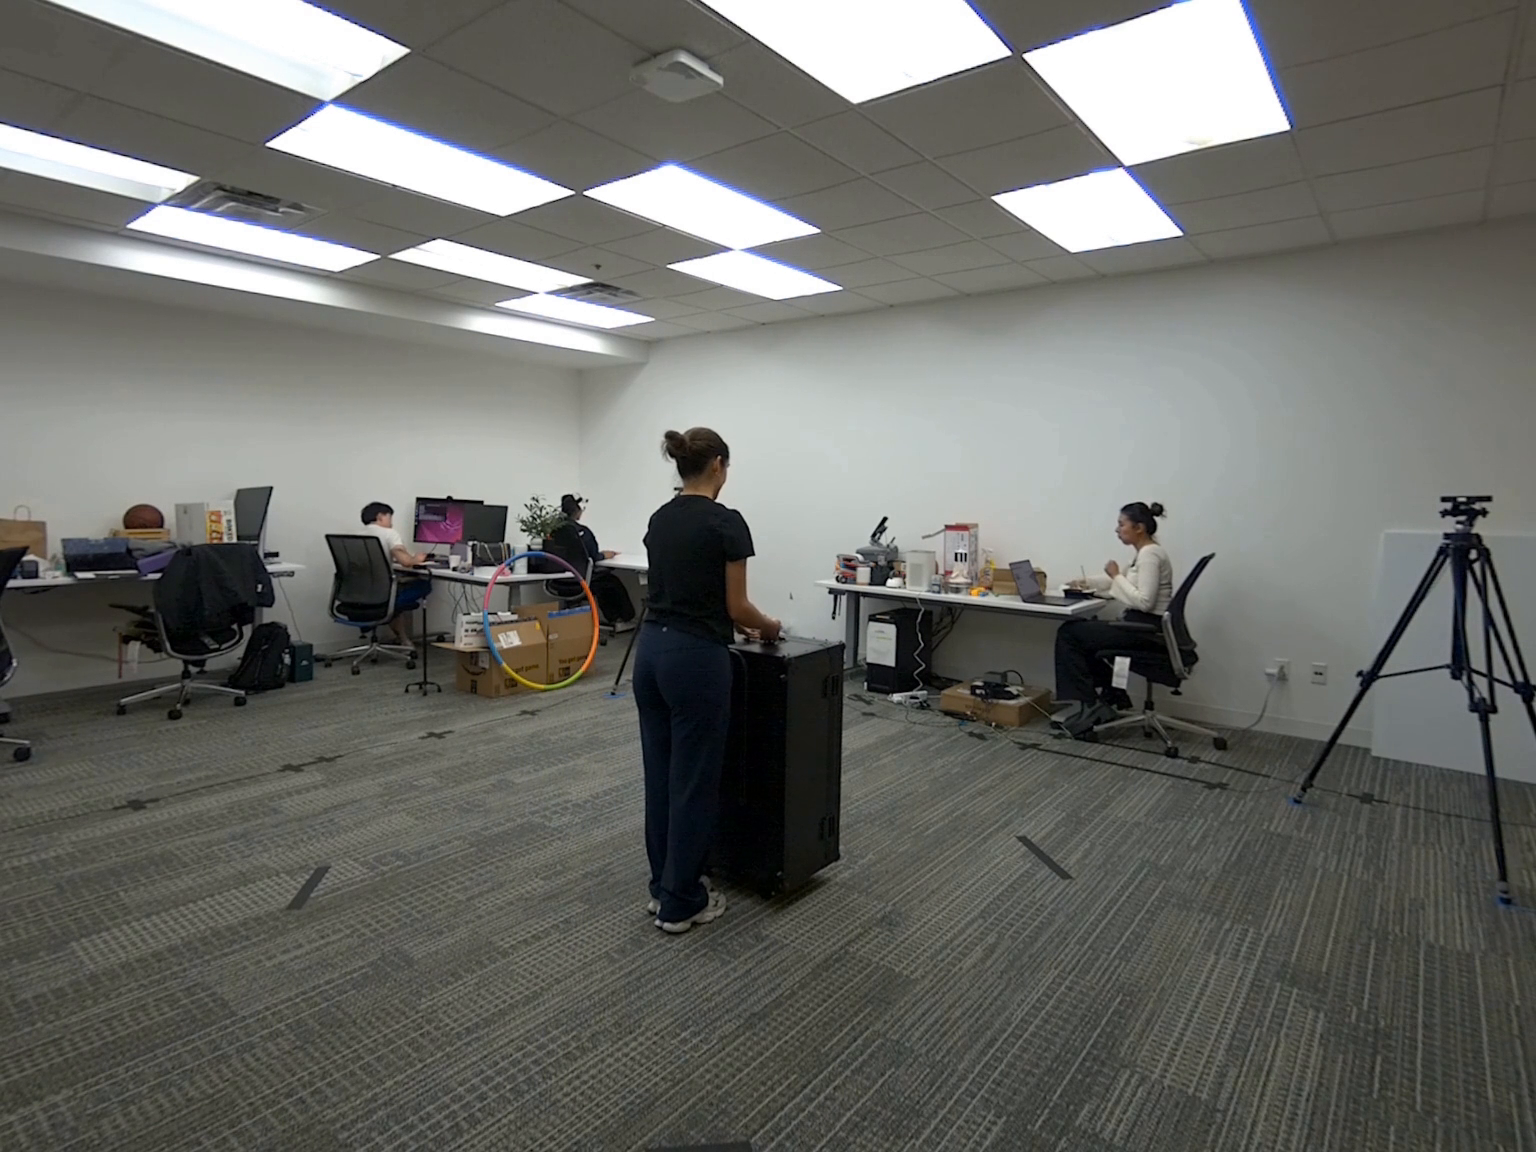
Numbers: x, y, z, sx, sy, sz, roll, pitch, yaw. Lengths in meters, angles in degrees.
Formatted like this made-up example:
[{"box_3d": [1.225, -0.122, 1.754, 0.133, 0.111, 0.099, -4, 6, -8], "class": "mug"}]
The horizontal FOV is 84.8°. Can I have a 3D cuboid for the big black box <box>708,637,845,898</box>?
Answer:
[{"box_3d": [-0.021, 0.650, 3.042, 0.538, 0.858, 0.385, 4, 5, 38], "class": "big black box"}]
